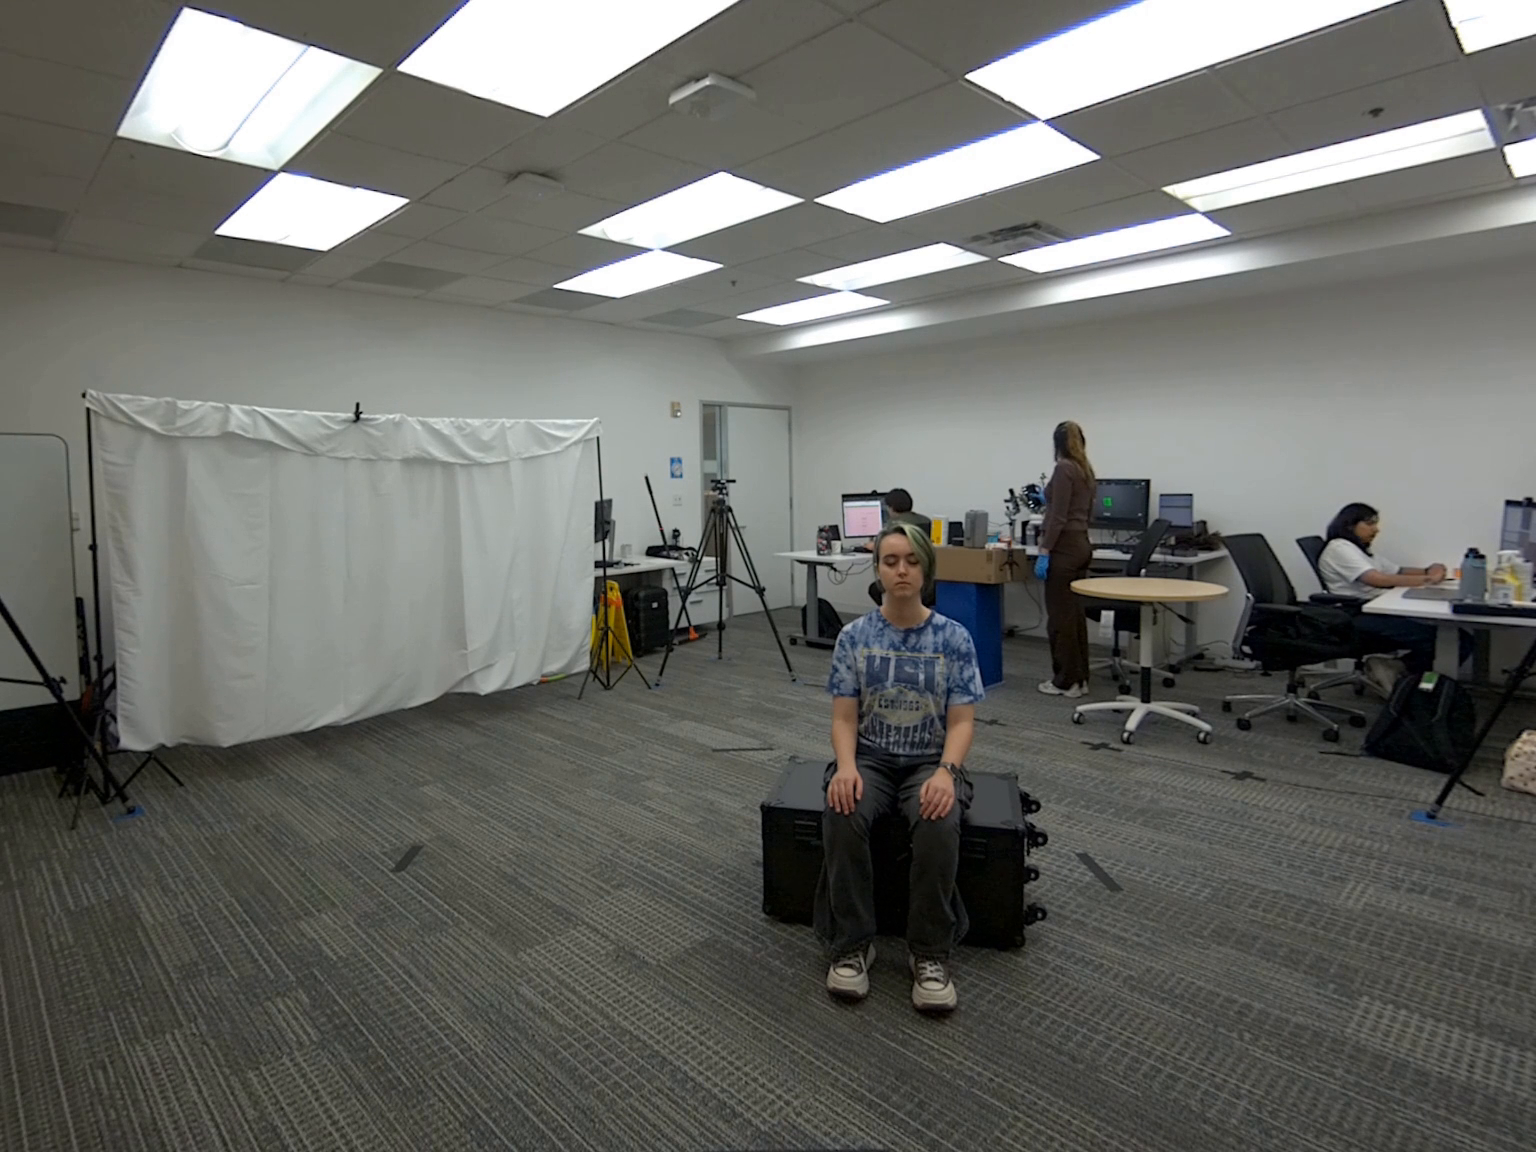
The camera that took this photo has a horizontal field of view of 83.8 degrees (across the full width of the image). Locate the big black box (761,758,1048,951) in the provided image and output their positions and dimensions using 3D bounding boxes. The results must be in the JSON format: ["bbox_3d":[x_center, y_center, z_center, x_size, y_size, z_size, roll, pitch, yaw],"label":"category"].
[{"bbox_3d":[0.447,0.883,2.800,0.874,0.395,0.516,0,5,15],"label":"big black box"}]
